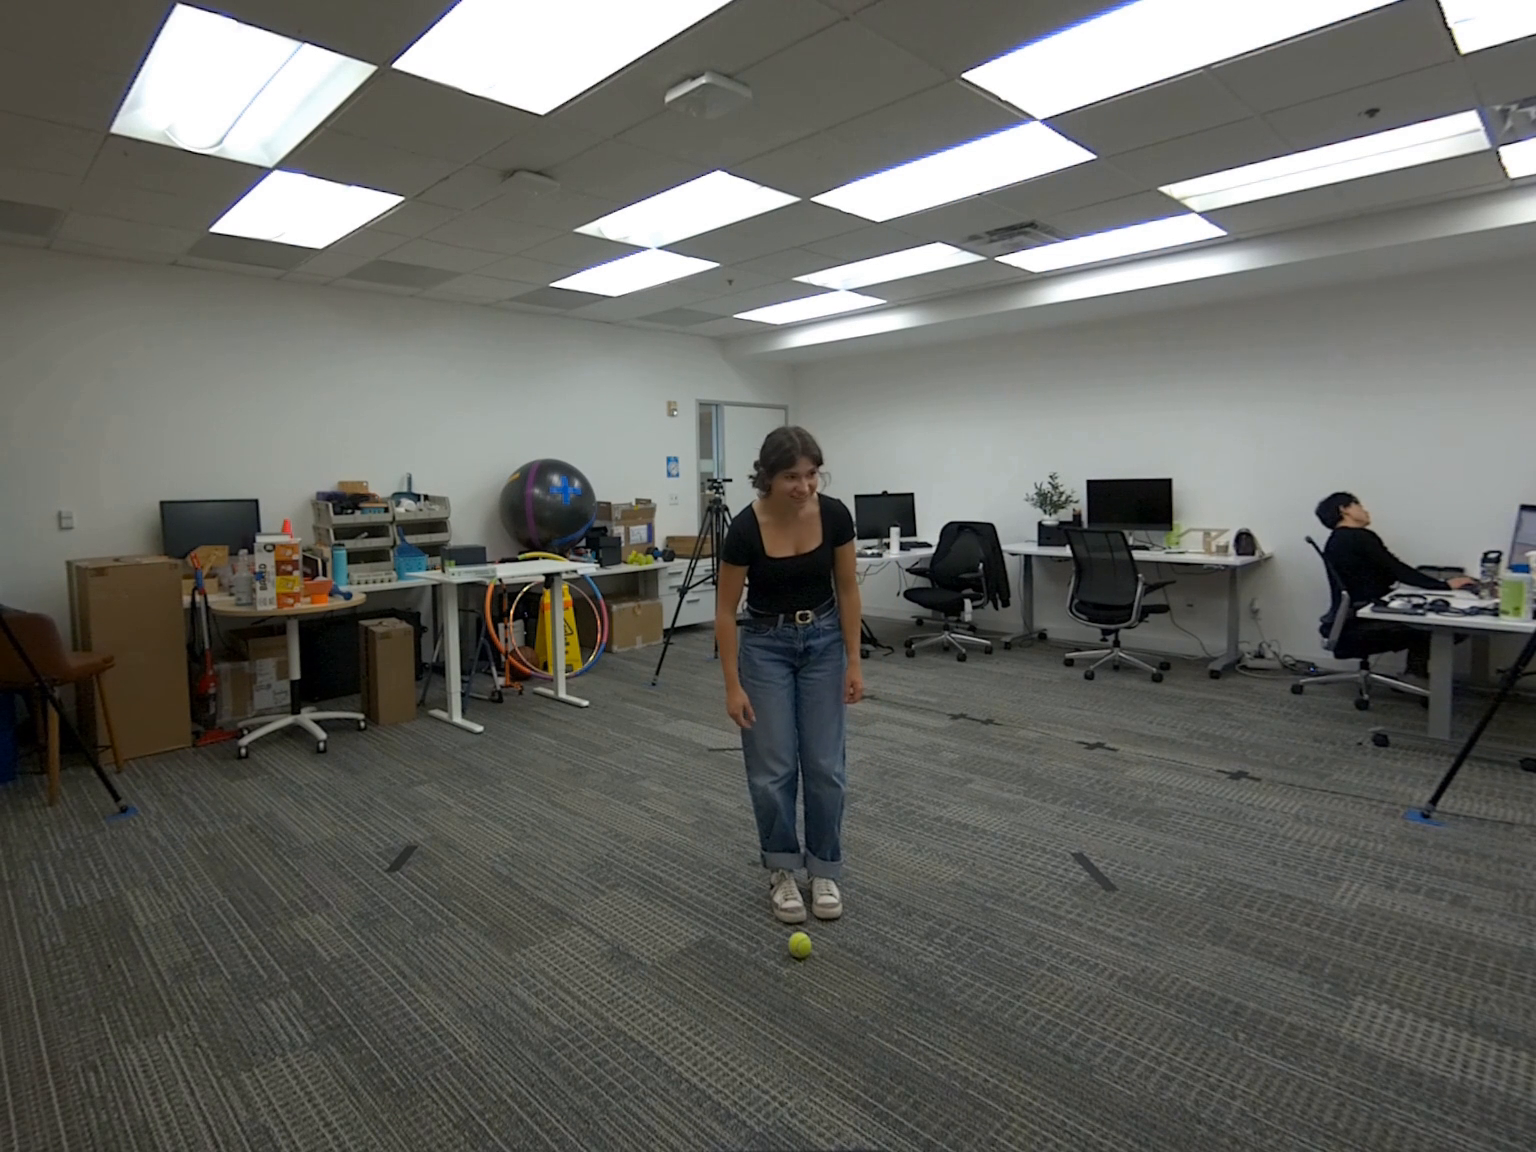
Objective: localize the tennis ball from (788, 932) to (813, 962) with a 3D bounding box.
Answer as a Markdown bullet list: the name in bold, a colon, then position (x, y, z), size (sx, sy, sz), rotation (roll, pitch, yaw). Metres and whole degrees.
- **tennis ball**: position (0.096, 1.081, 2.498), size (0.066, 0.066, 0.067), rotation (-1, 5, -2)
